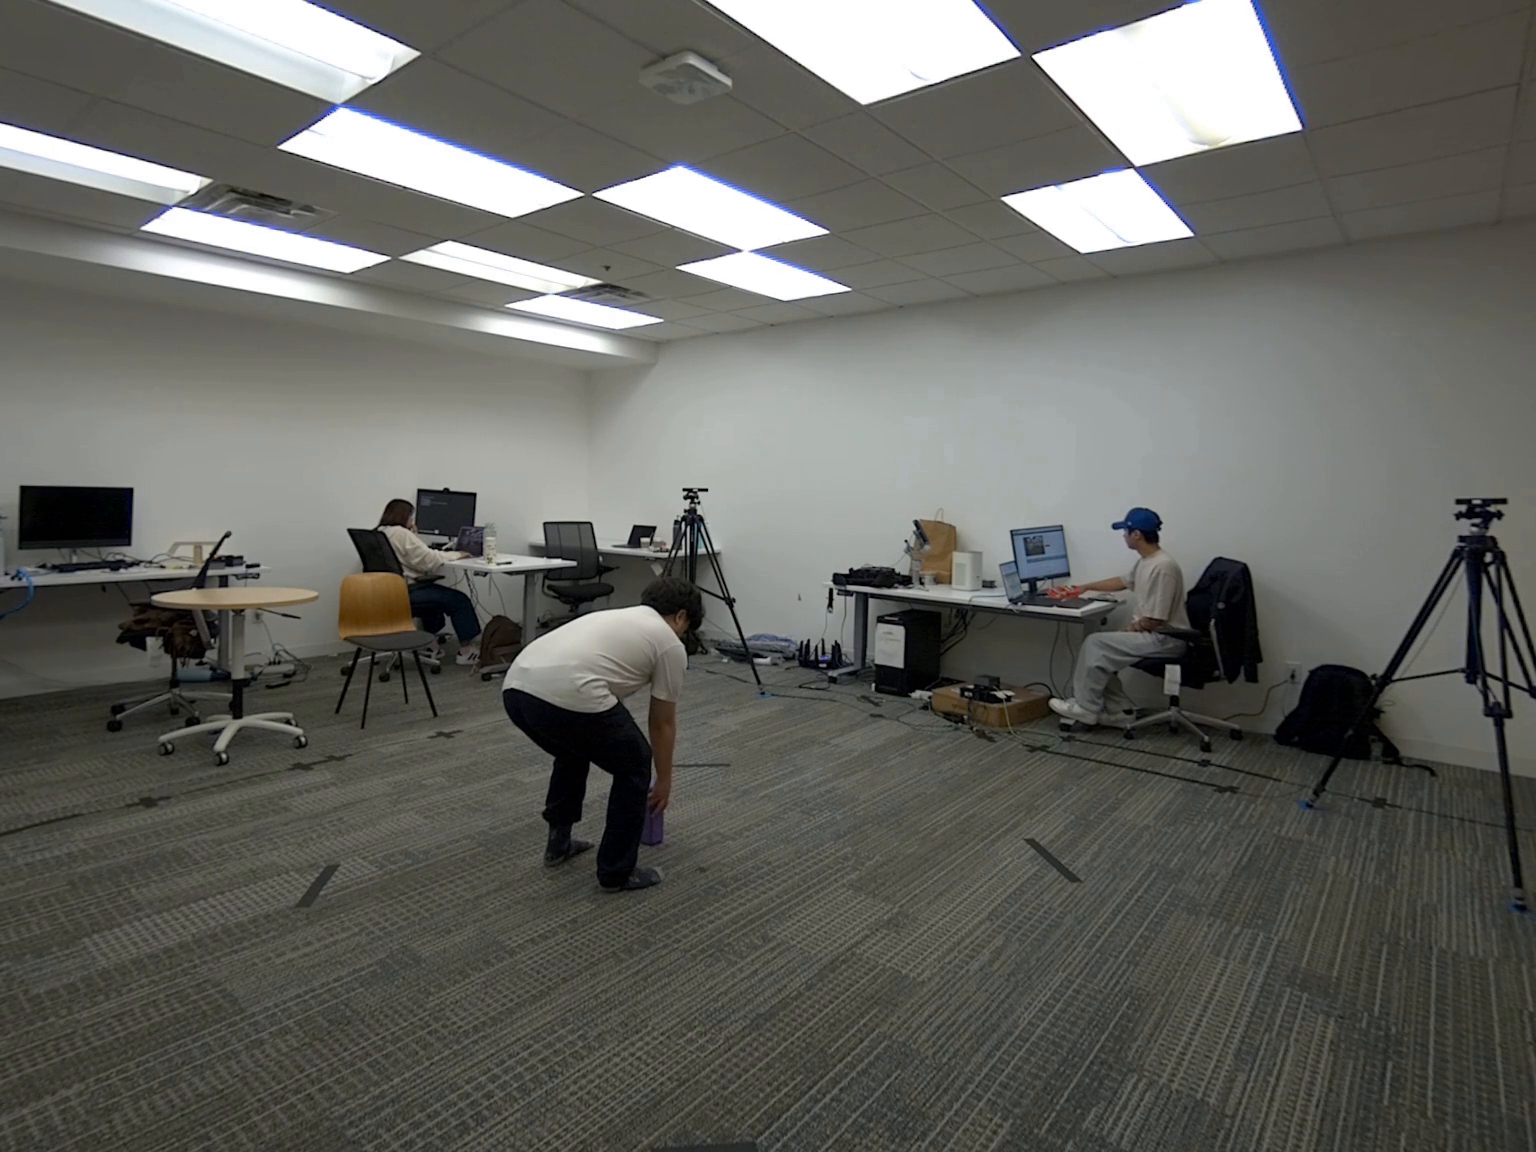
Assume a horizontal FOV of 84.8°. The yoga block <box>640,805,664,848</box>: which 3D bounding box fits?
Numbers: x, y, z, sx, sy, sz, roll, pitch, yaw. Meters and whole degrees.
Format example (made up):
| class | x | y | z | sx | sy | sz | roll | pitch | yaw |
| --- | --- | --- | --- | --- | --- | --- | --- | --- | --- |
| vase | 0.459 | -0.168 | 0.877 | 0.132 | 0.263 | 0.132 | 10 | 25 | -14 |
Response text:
| class | x | y | z | sx | sy | sz | roll | pitch | yaw |
| --- | --- | --- | --- | --- | --- | --- | --- | --- | --- |
| yoga block | -0.496 | 0.923 | 3.368 | 0.153 | 0.229 | 0.074 | 0 | 0 | 37 |
